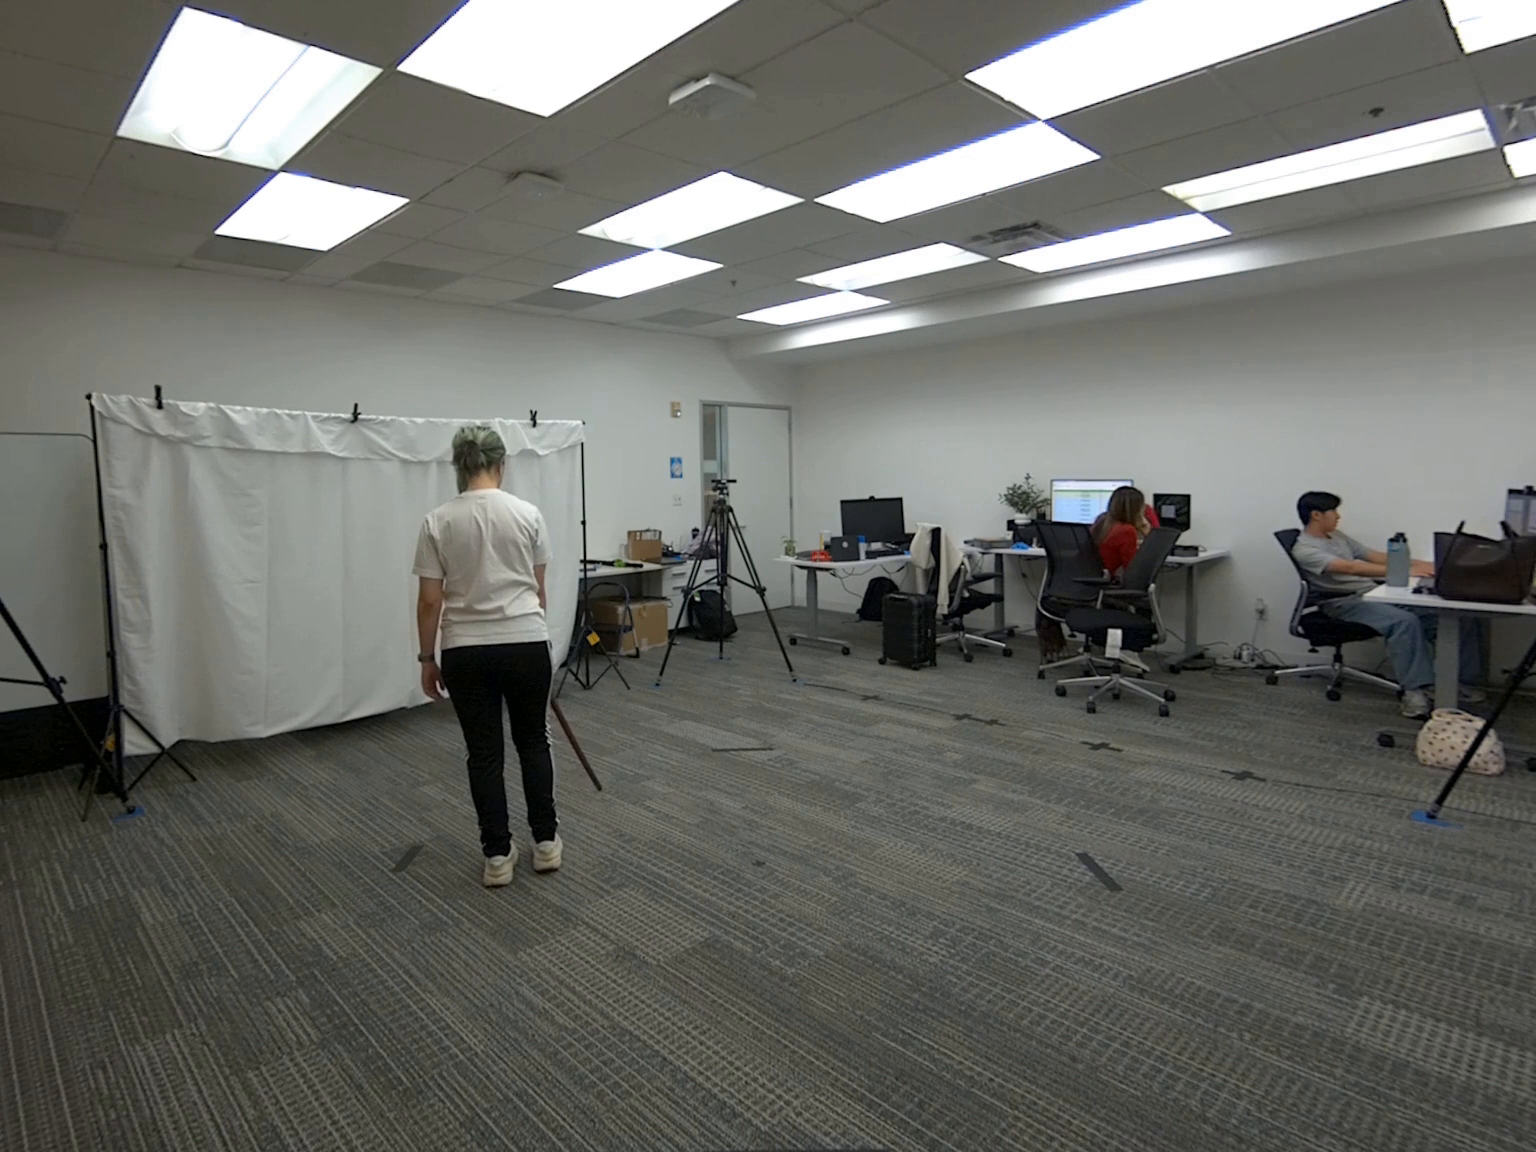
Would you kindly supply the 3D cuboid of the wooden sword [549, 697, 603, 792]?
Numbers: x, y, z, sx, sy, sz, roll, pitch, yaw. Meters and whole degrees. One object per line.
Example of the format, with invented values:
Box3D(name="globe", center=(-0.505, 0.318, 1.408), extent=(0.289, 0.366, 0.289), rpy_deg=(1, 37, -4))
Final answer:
Box3D(name="wooden sword", center=(-0.835, 0.642, 3.564), extent=(0.025, 0.992, 0.051), rpy_deg=(22, 52, 28))
